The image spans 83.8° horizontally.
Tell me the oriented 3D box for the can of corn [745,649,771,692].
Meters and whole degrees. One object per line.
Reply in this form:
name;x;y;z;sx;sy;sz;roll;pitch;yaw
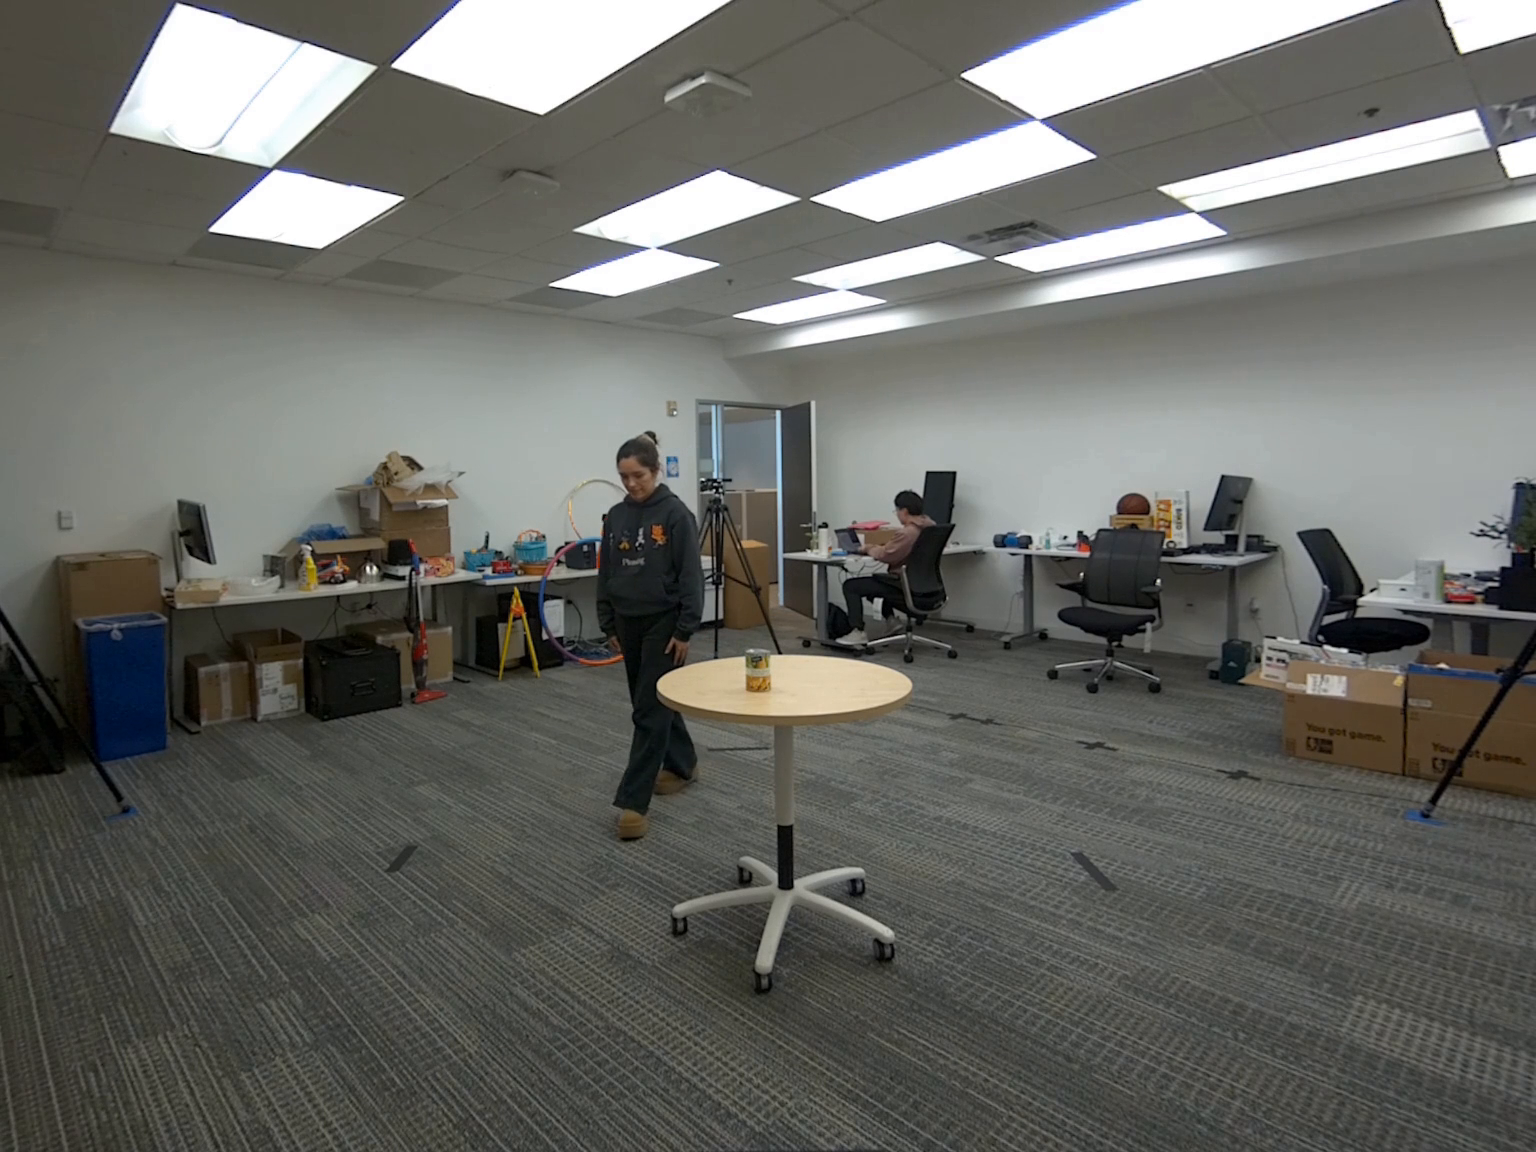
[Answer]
can of corn;-0.027;0.280;2.479;0.074;0.110;0.074;-5;6;-1
